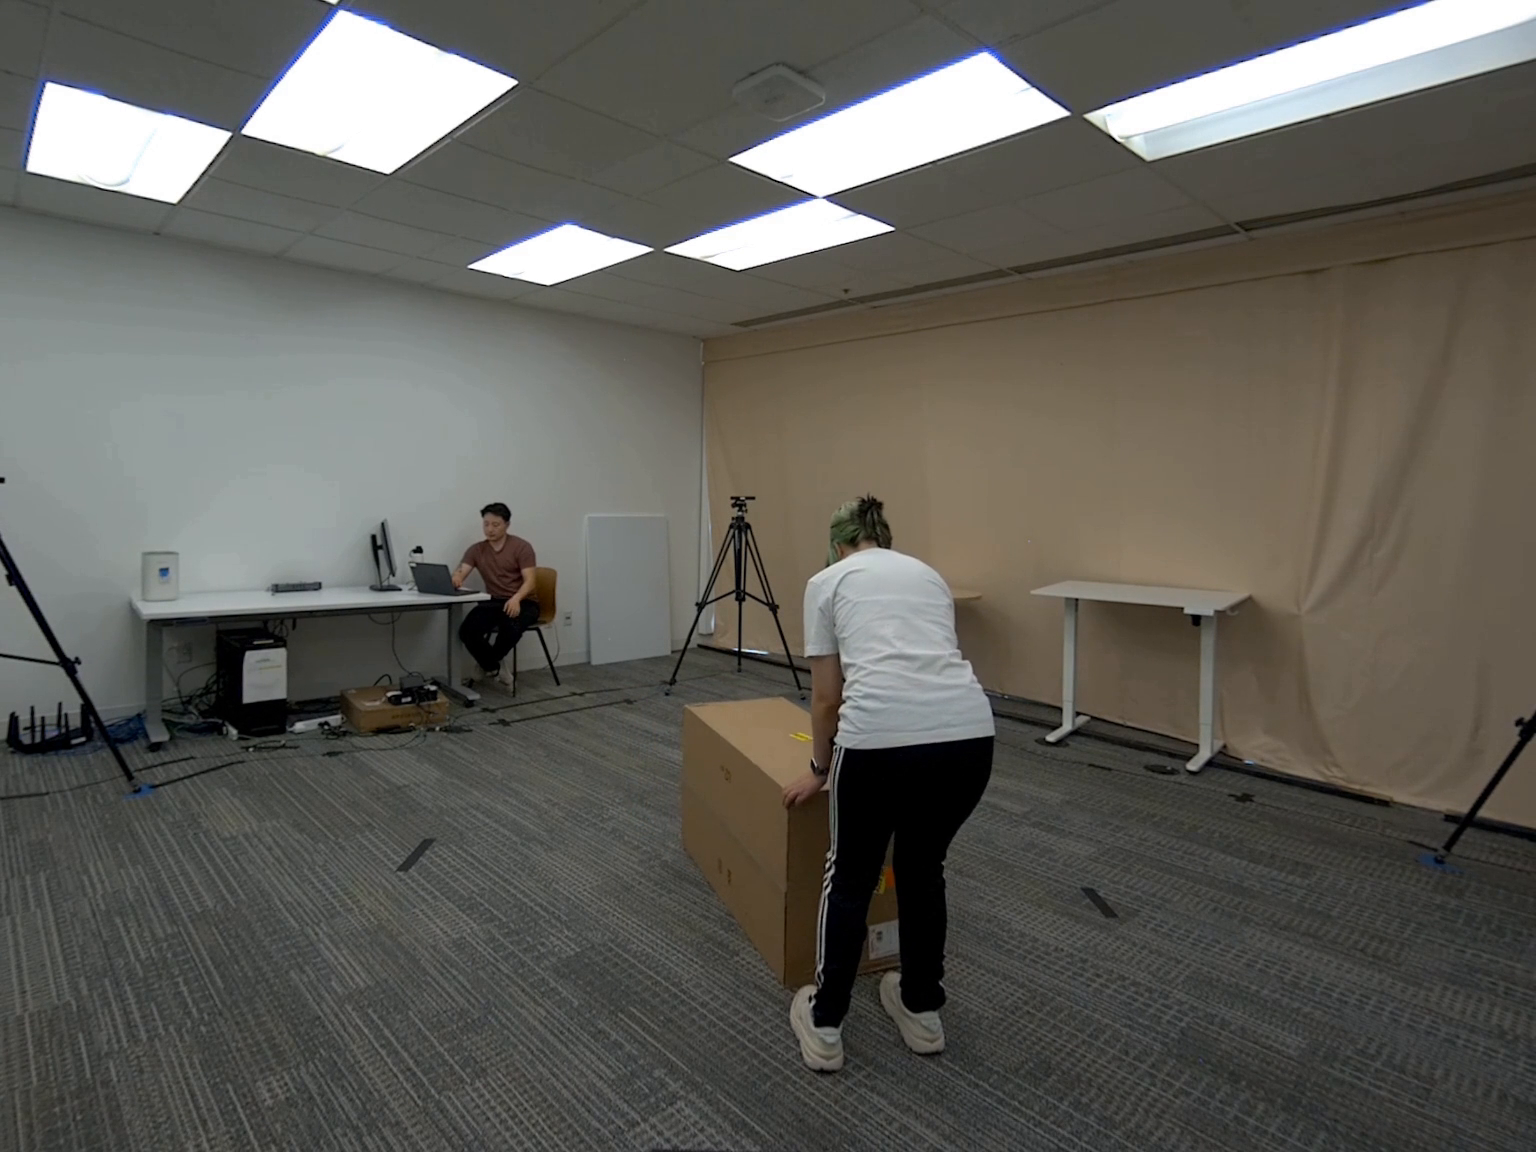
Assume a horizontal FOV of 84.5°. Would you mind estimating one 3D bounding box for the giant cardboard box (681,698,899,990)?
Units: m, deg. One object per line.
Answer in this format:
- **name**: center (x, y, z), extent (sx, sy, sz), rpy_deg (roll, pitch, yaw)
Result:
- **giant cardboard box**: center (0.049, 0.839, 2.918), extent (0.440, 0.582, 1.047), rpy_deg (1, 5, -22)
